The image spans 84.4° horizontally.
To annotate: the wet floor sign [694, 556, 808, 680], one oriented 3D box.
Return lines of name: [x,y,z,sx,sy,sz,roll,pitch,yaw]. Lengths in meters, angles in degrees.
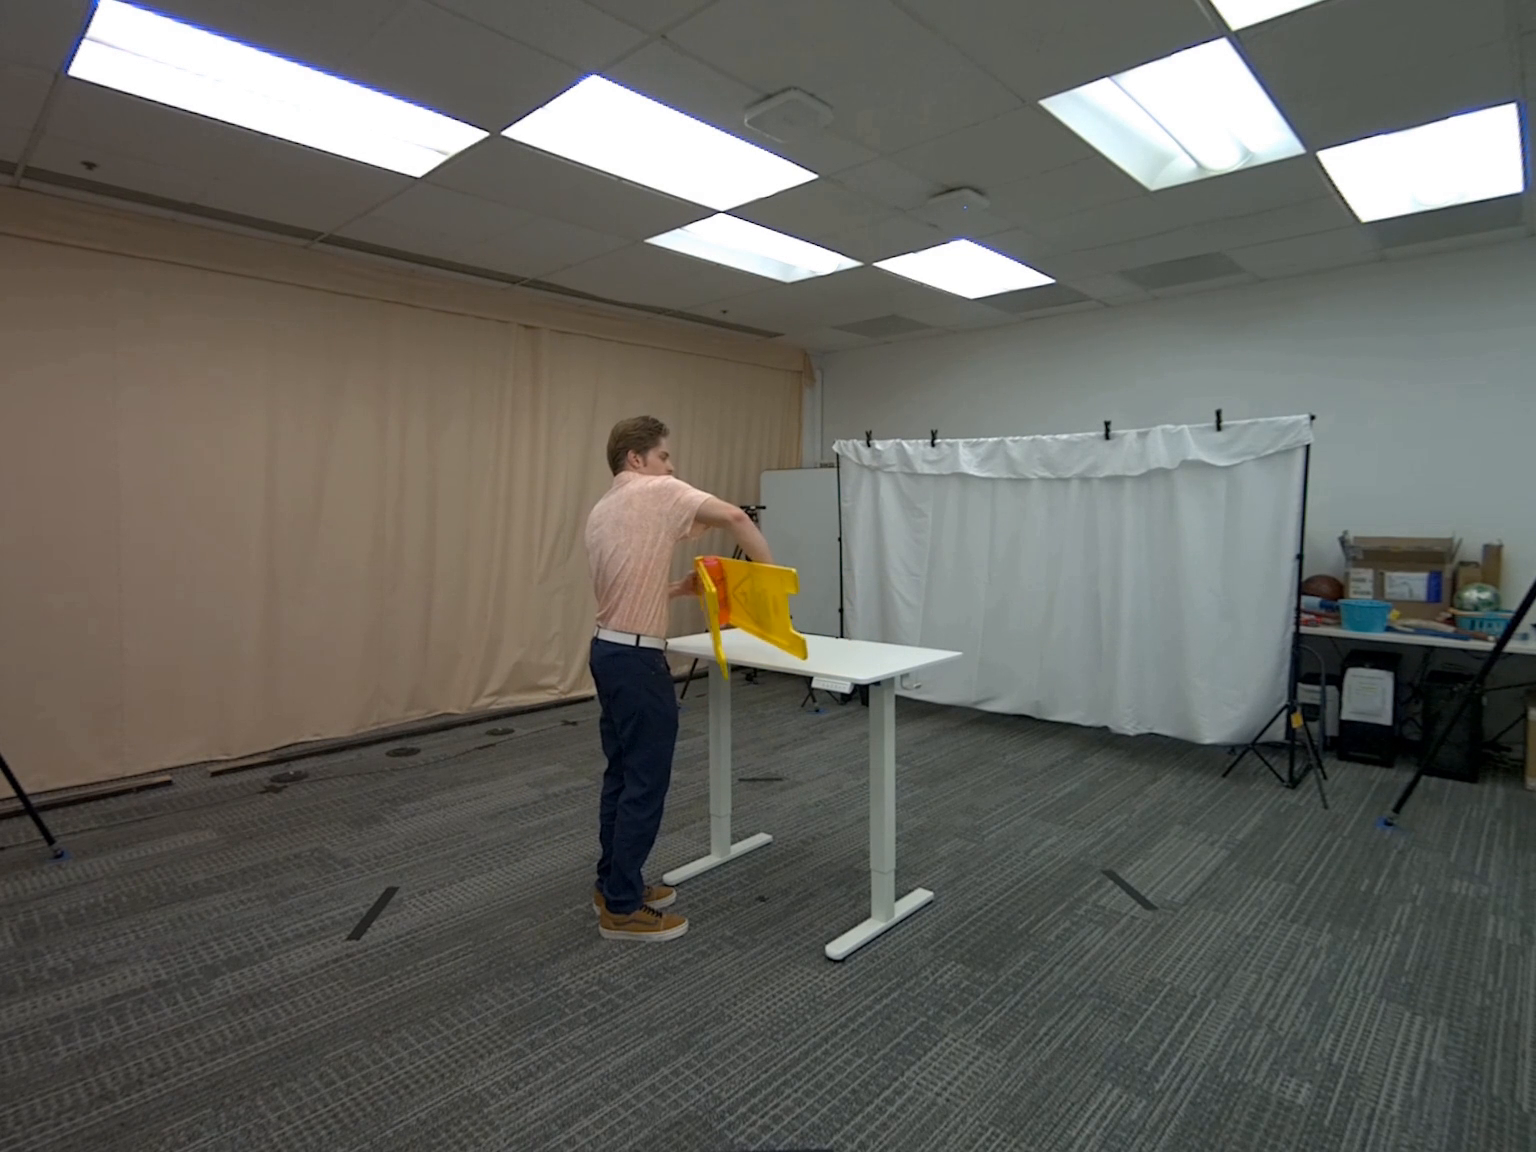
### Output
wet floor sign: [-0.124,0.087,2.739,0.286,0.280,0.661,-11,13,-15]
